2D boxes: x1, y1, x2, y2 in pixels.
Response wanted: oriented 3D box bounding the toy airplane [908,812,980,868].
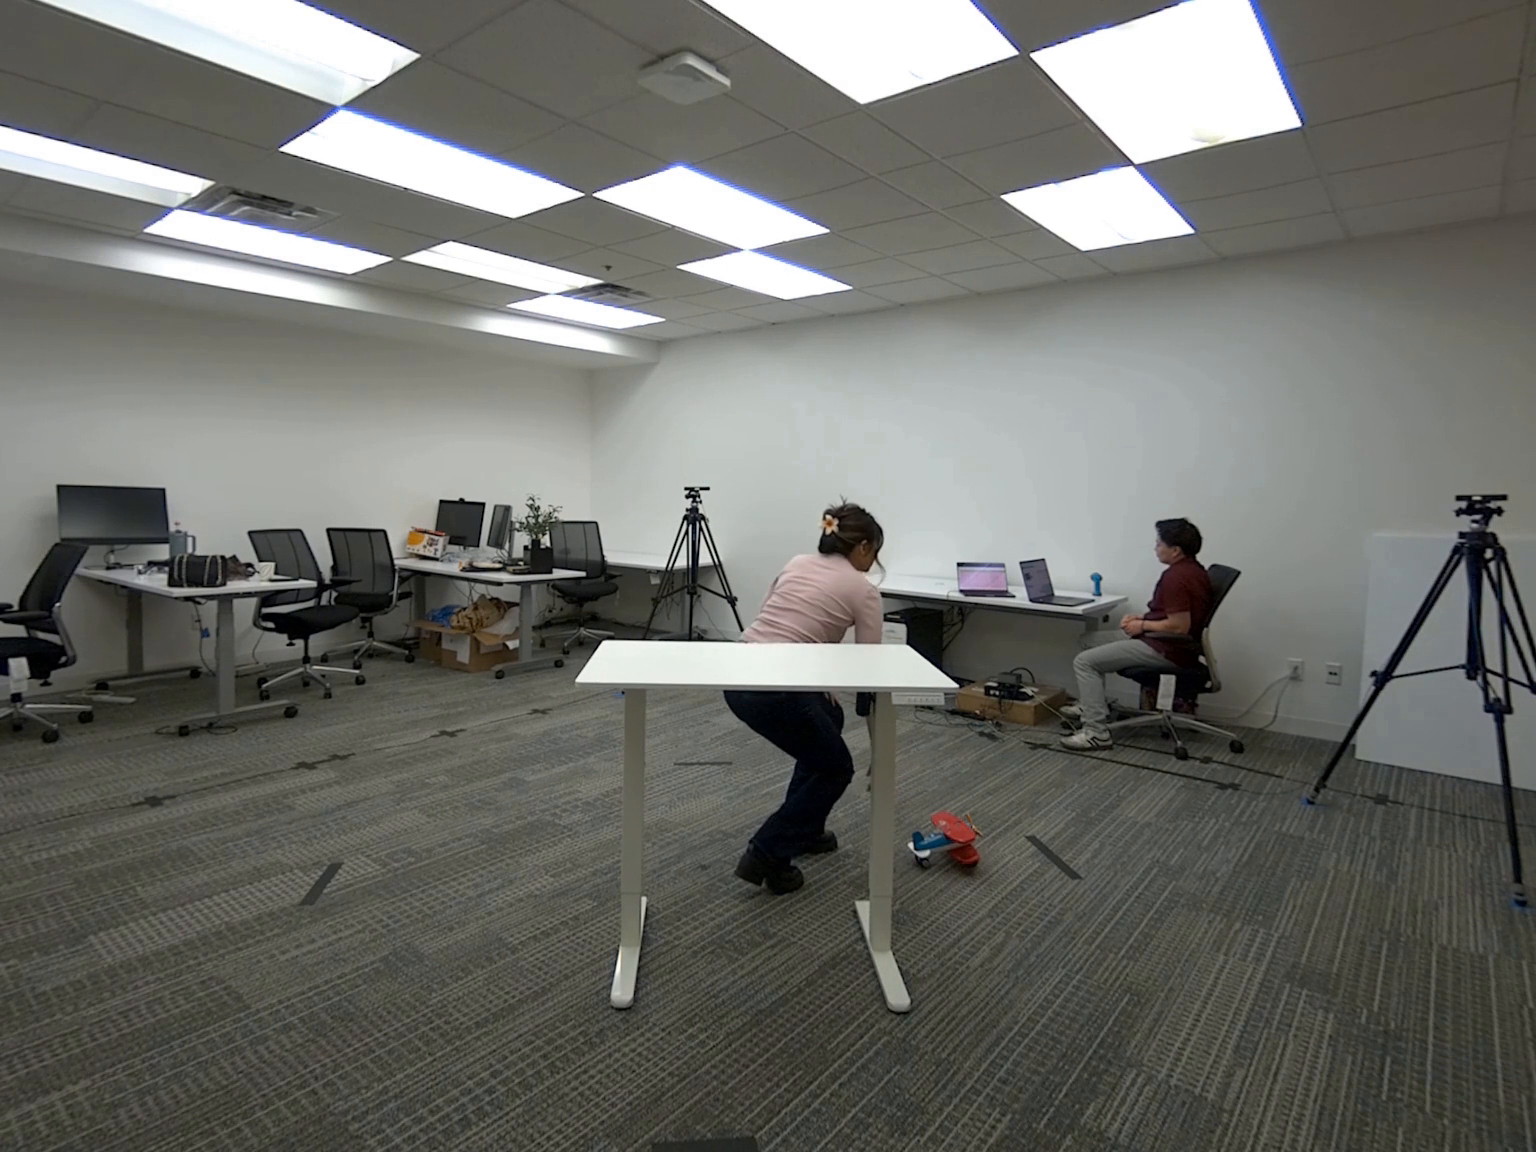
[{"bbox_3d":[0.665,1.007,3.176,0.251,0.156,0.260,-3,8,-41],"label":"toy airplane"}]
